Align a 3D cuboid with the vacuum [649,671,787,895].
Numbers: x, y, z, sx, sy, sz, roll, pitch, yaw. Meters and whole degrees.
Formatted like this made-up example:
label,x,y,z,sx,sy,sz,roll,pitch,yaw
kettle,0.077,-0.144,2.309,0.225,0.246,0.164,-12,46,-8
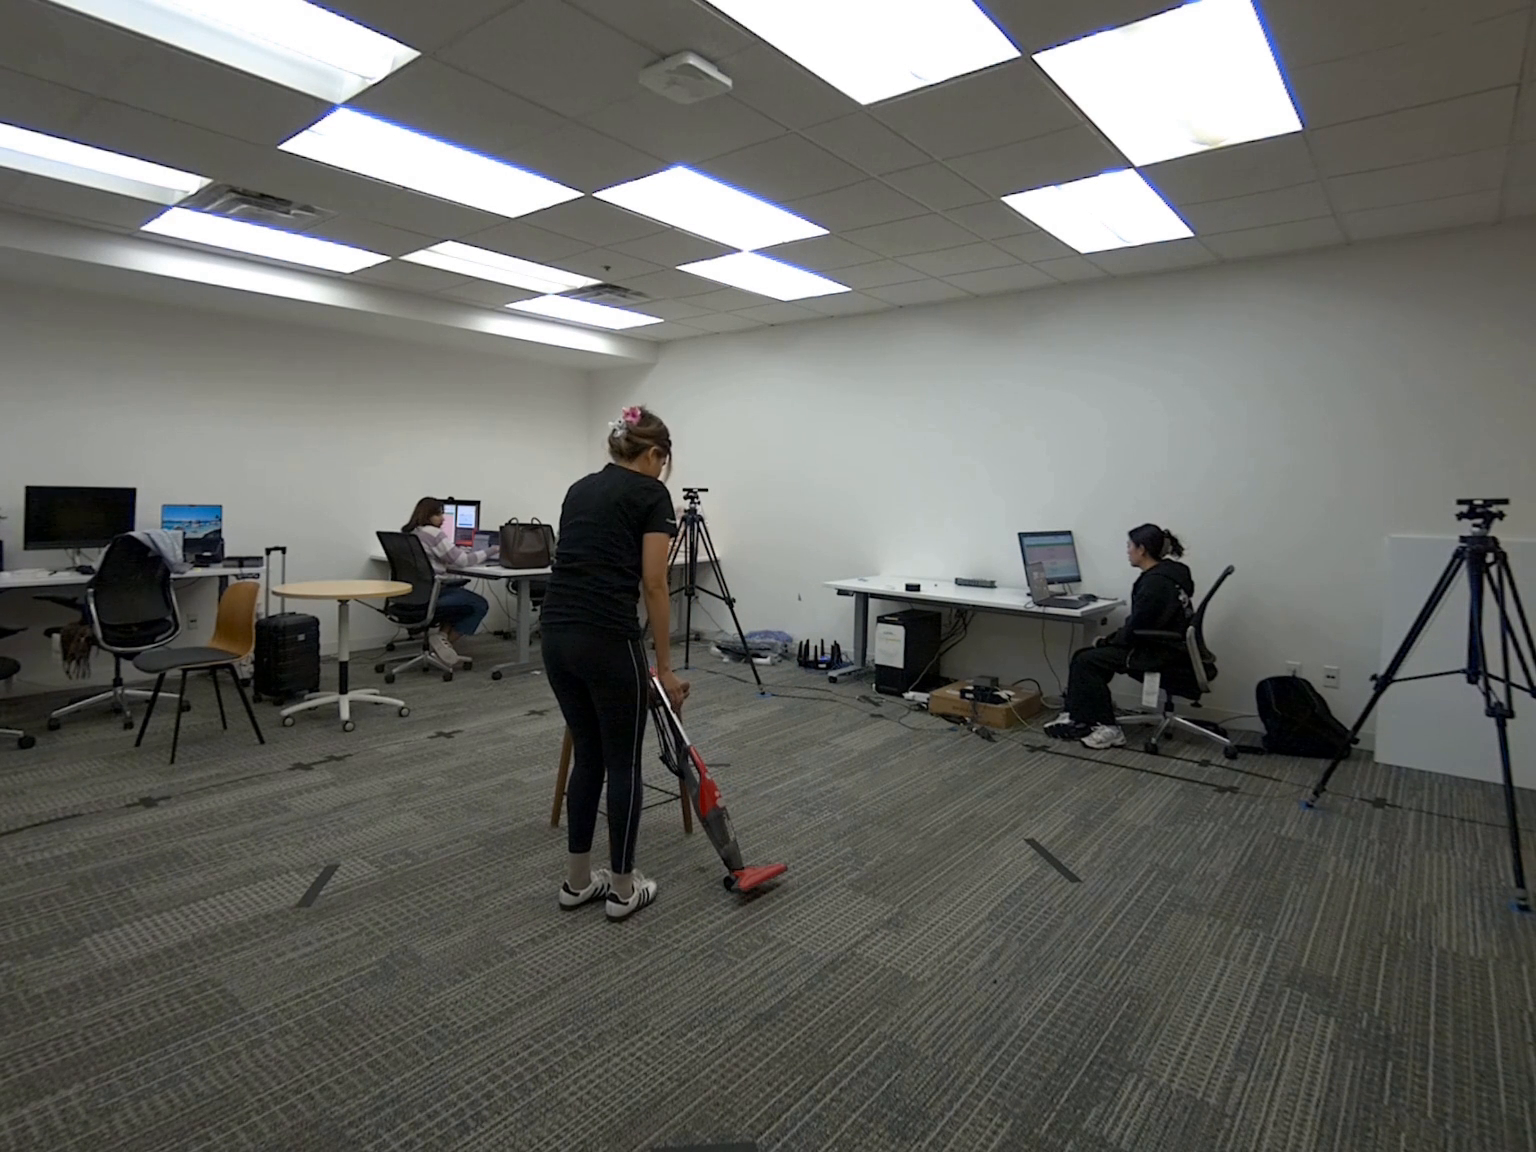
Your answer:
label,x,y,z,sx,sy,sz,roll,pitch,yaw
vacuum,-0.317,0.654,3.175,0.144,1.084,0.244,-46,-28,27
